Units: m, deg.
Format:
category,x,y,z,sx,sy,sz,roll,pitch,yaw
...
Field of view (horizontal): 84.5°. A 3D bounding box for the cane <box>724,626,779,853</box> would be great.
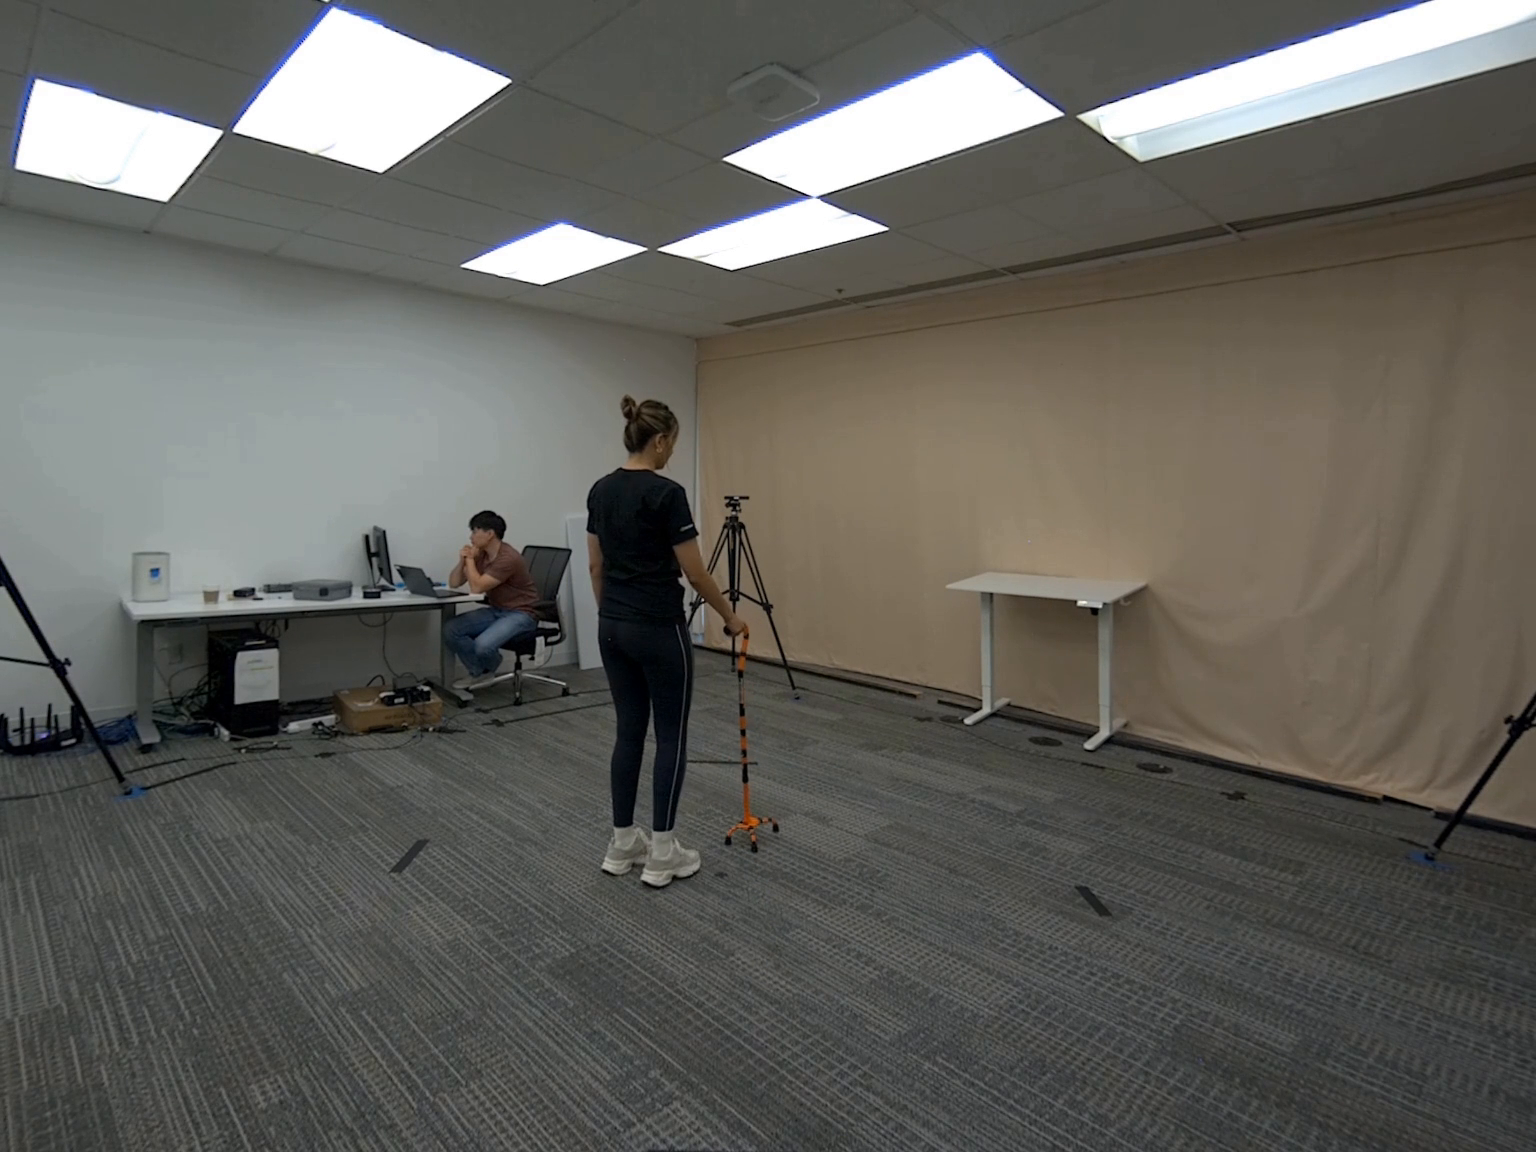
category,x,y,z,sx,sy,sz,roll,pitch,yaw
cane,-0.090,0.621,3.356,0.155,0.901,0.204,3,10,27
